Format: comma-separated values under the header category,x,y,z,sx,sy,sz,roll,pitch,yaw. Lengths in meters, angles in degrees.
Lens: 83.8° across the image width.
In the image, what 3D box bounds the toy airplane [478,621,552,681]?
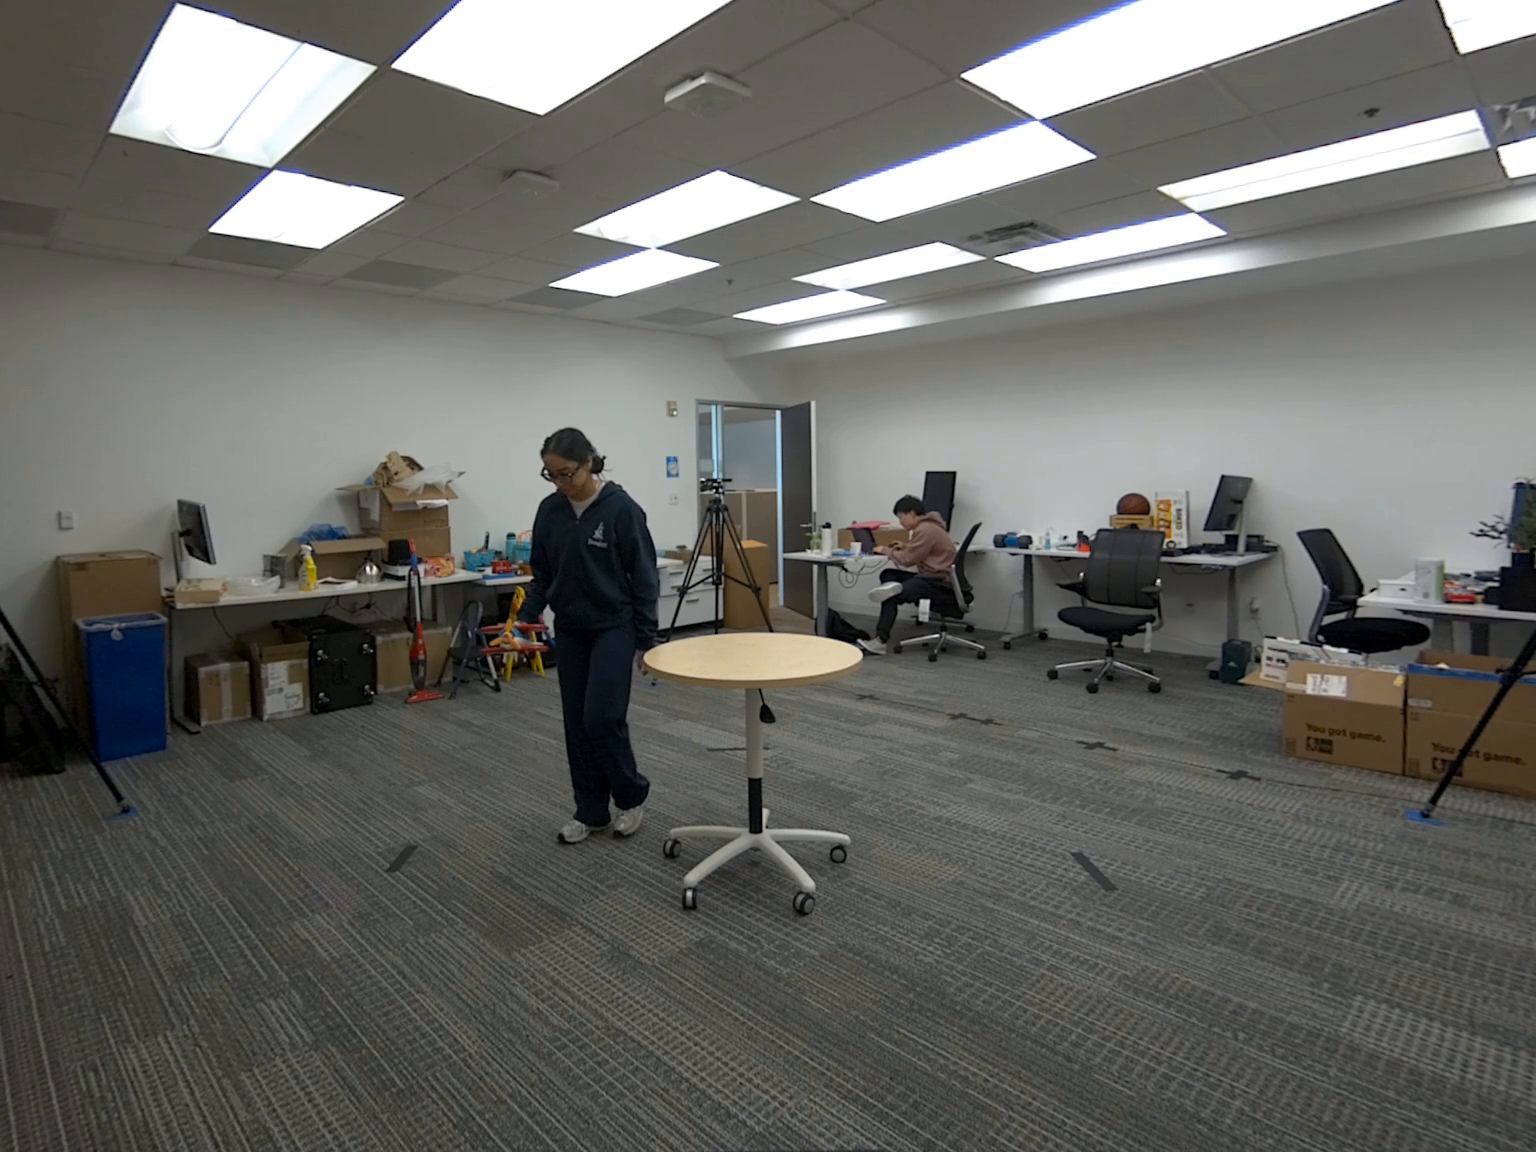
category,x,y,z,sx,sy,sz,roll,pitch,yaw
toy airplane,-0.947,0.258,3.232,0.248,0.157,0.262,-5,0,-15
